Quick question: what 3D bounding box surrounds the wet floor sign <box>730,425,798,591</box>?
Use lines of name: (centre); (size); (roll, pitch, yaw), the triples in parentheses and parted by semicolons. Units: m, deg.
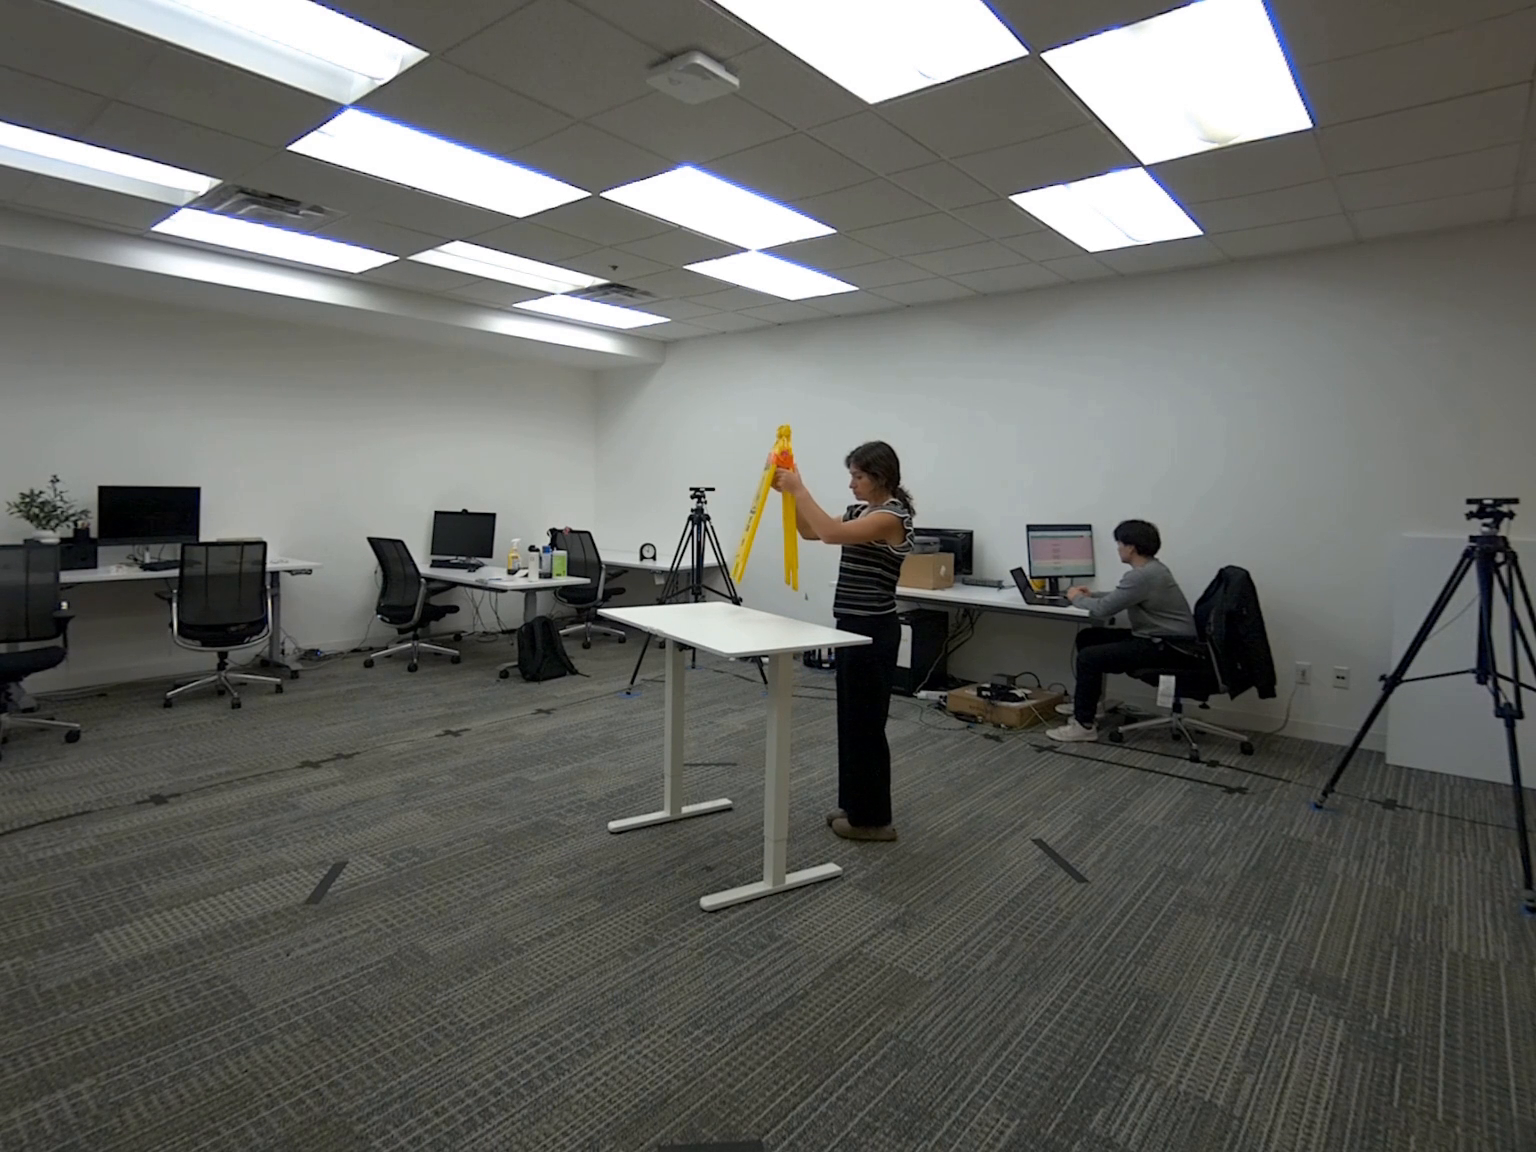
wet floor sign: (0.017, -0.289, 3.457); (0.287, 0.646, 0.285); (6, 0, -8)
